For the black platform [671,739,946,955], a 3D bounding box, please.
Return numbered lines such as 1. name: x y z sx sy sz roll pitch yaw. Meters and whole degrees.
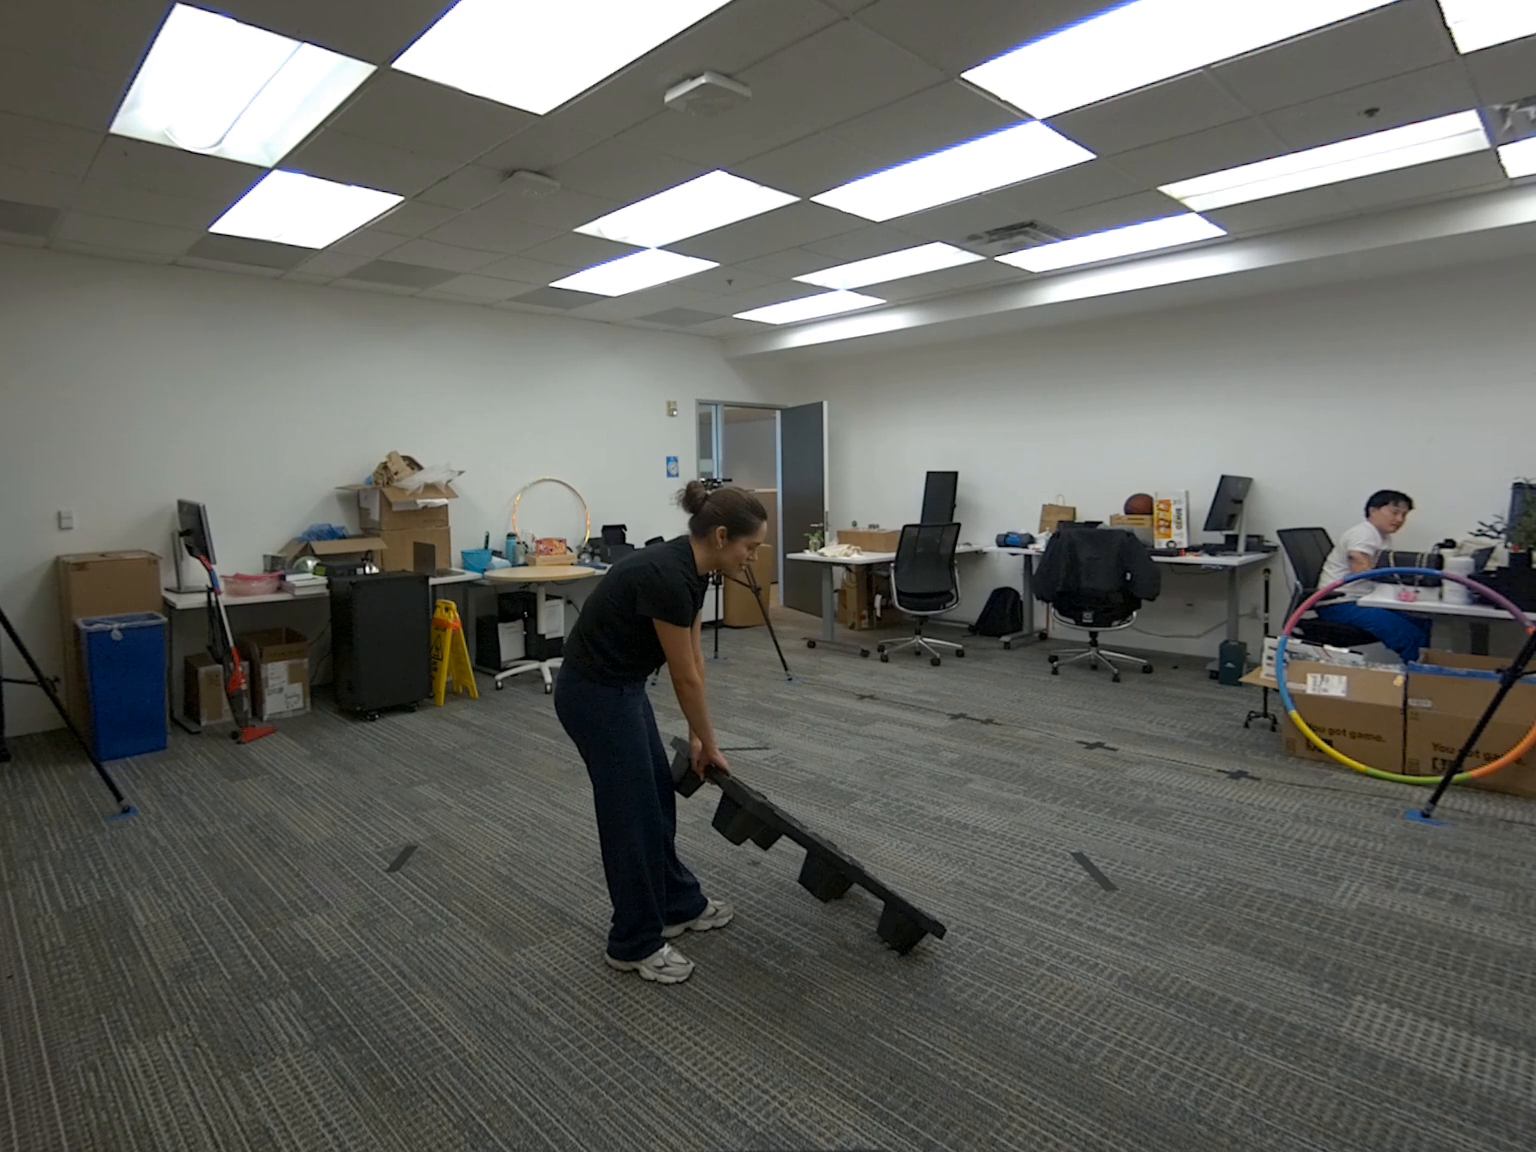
1. black platform: 0.080 0.812 2.610 0.784 0.144 0.620 40 -14 -22
